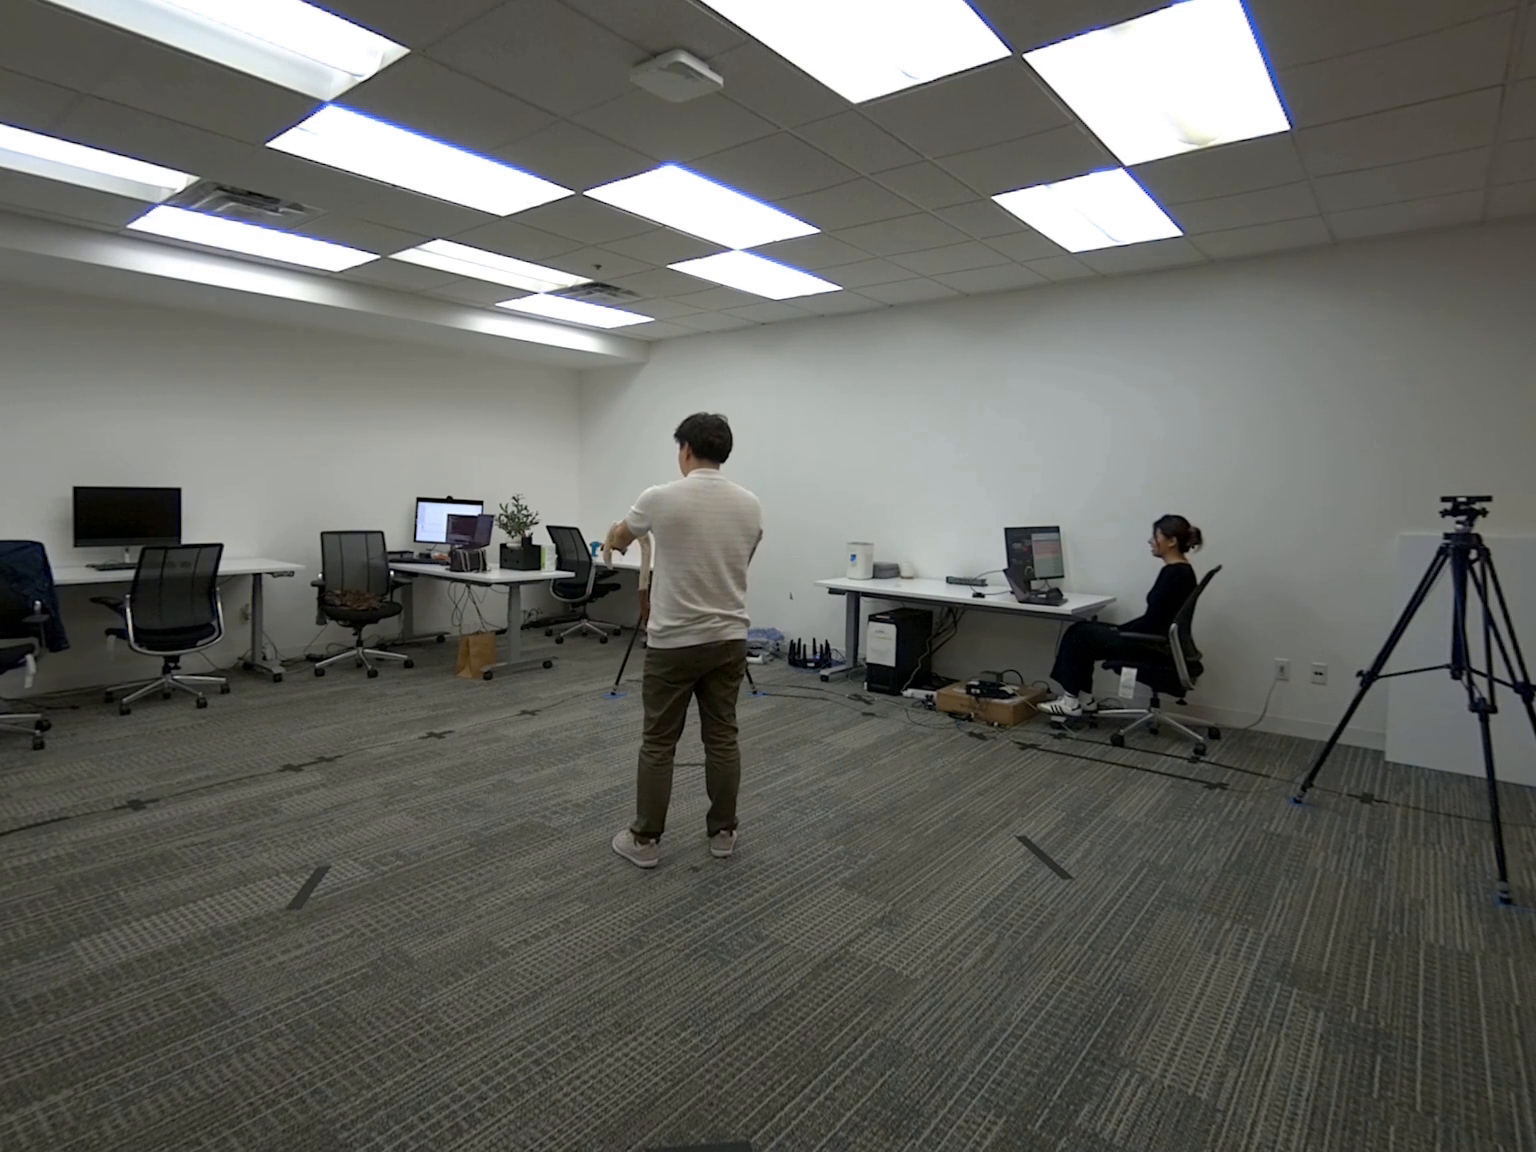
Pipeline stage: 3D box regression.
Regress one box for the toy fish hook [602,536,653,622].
[{"bbox_3d":[-0.601,0.015,3.570,0.220,0.503,0.050,-10,7,-28],"label":"toy fish hook"}]
